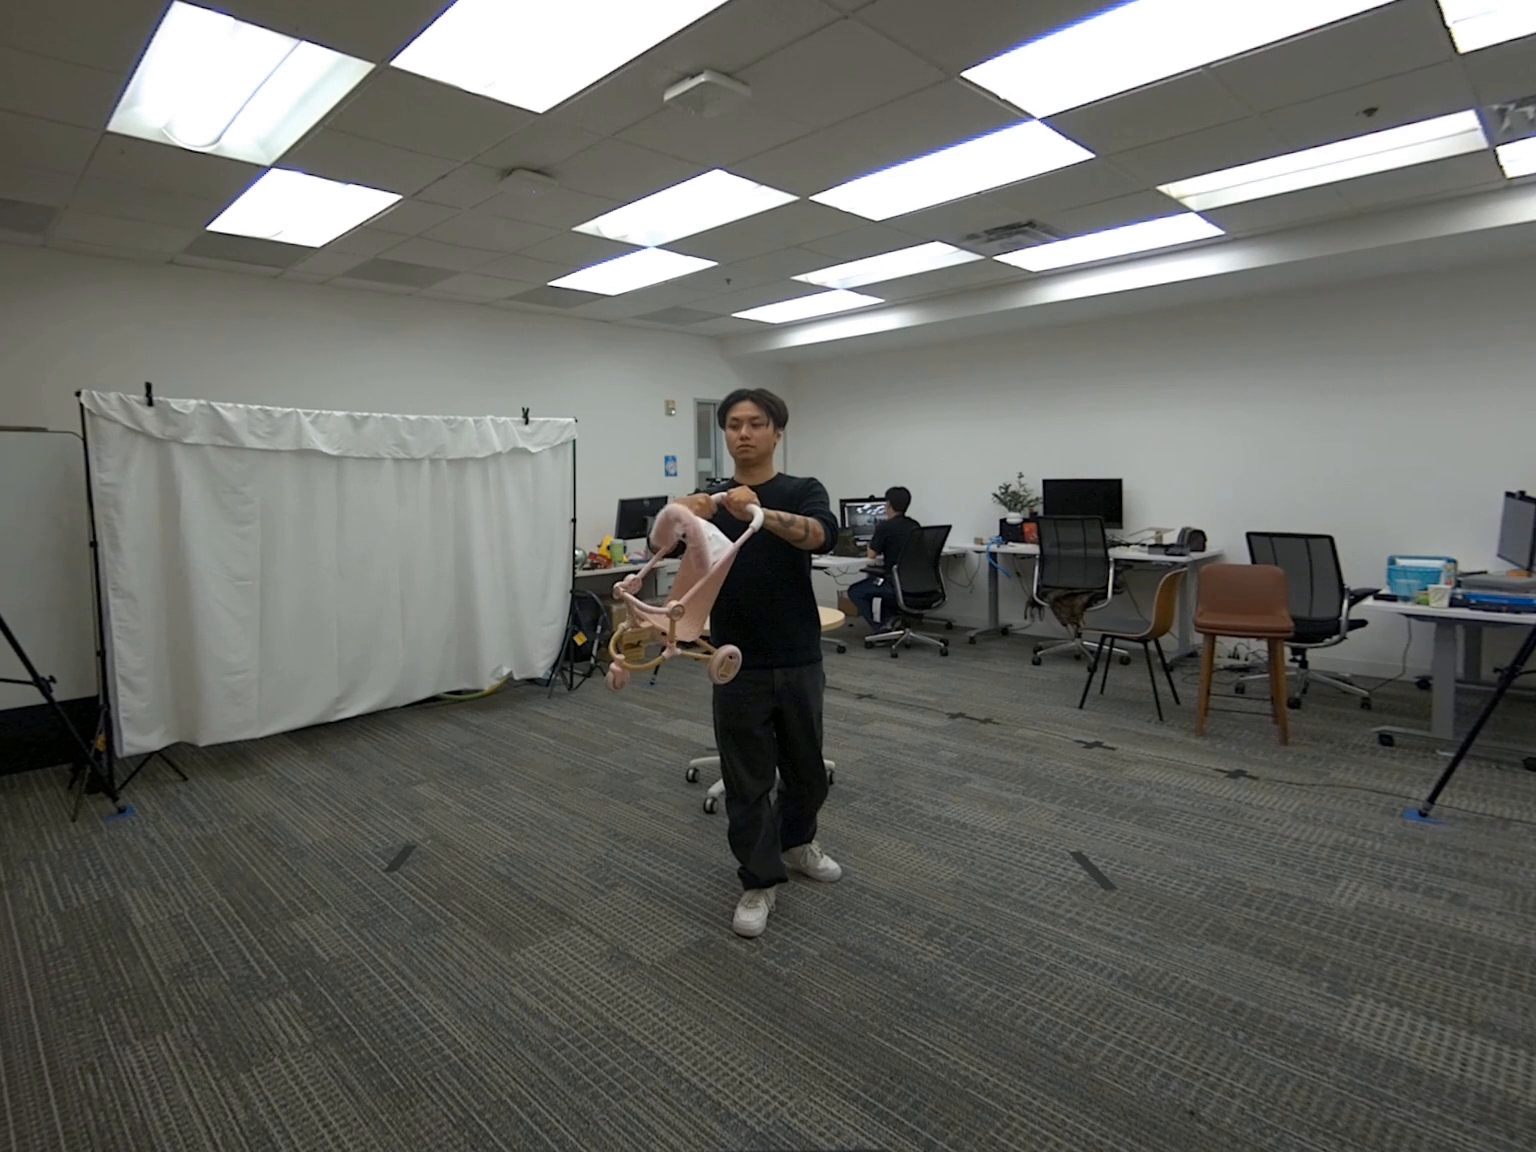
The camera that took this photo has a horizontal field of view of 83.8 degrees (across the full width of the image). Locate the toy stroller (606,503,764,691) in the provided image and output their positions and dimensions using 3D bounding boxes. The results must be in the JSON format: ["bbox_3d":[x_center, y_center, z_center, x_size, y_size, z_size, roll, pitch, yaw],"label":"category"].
[{"bbox_3d":[-0.236,0.043,2.232,0.331,0.530,0.292,3,17,-40],"label":"toy stroller"}]
